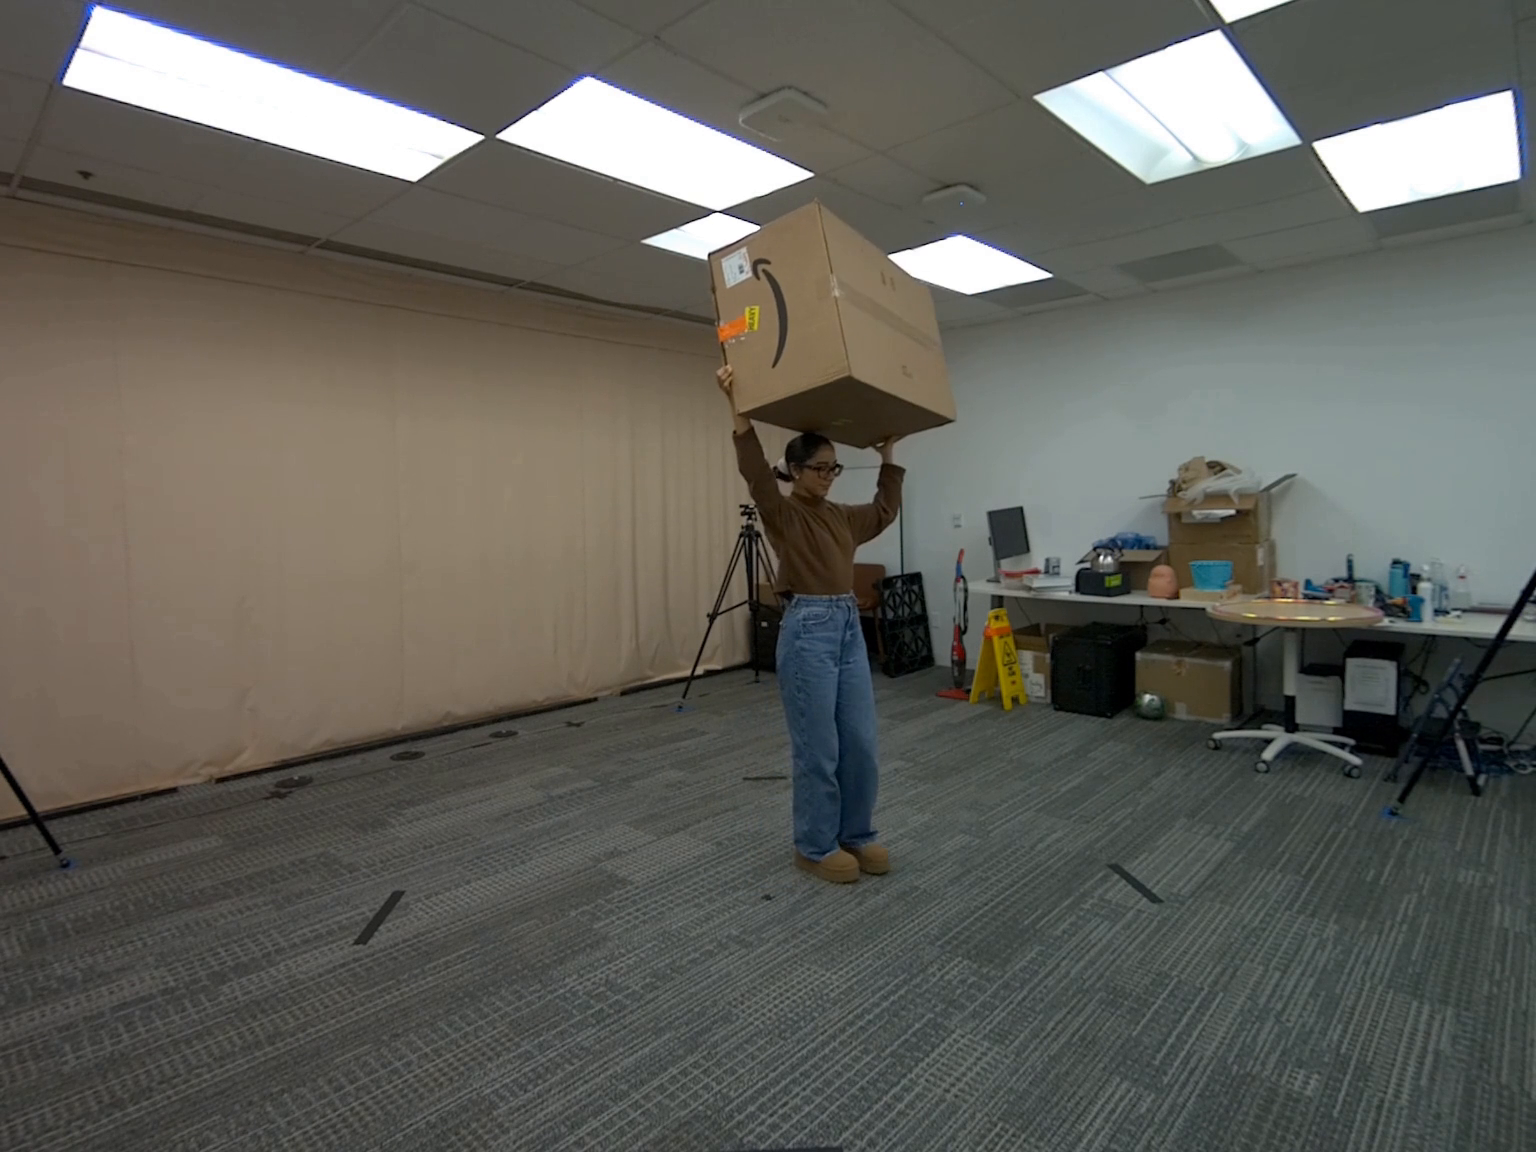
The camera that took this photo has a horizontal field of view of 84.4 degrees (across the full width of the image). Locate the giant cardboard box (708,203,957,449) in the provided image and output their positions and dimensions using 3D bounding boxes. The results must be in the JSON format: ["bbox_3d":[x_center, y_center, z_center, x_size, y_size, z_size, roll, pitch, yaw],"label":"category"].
[{"bbox_3d":[0.282,-0.848,3.105,0.436,0.581,0.996,-14,-7,31],"label":"giant cardboard box"}]
